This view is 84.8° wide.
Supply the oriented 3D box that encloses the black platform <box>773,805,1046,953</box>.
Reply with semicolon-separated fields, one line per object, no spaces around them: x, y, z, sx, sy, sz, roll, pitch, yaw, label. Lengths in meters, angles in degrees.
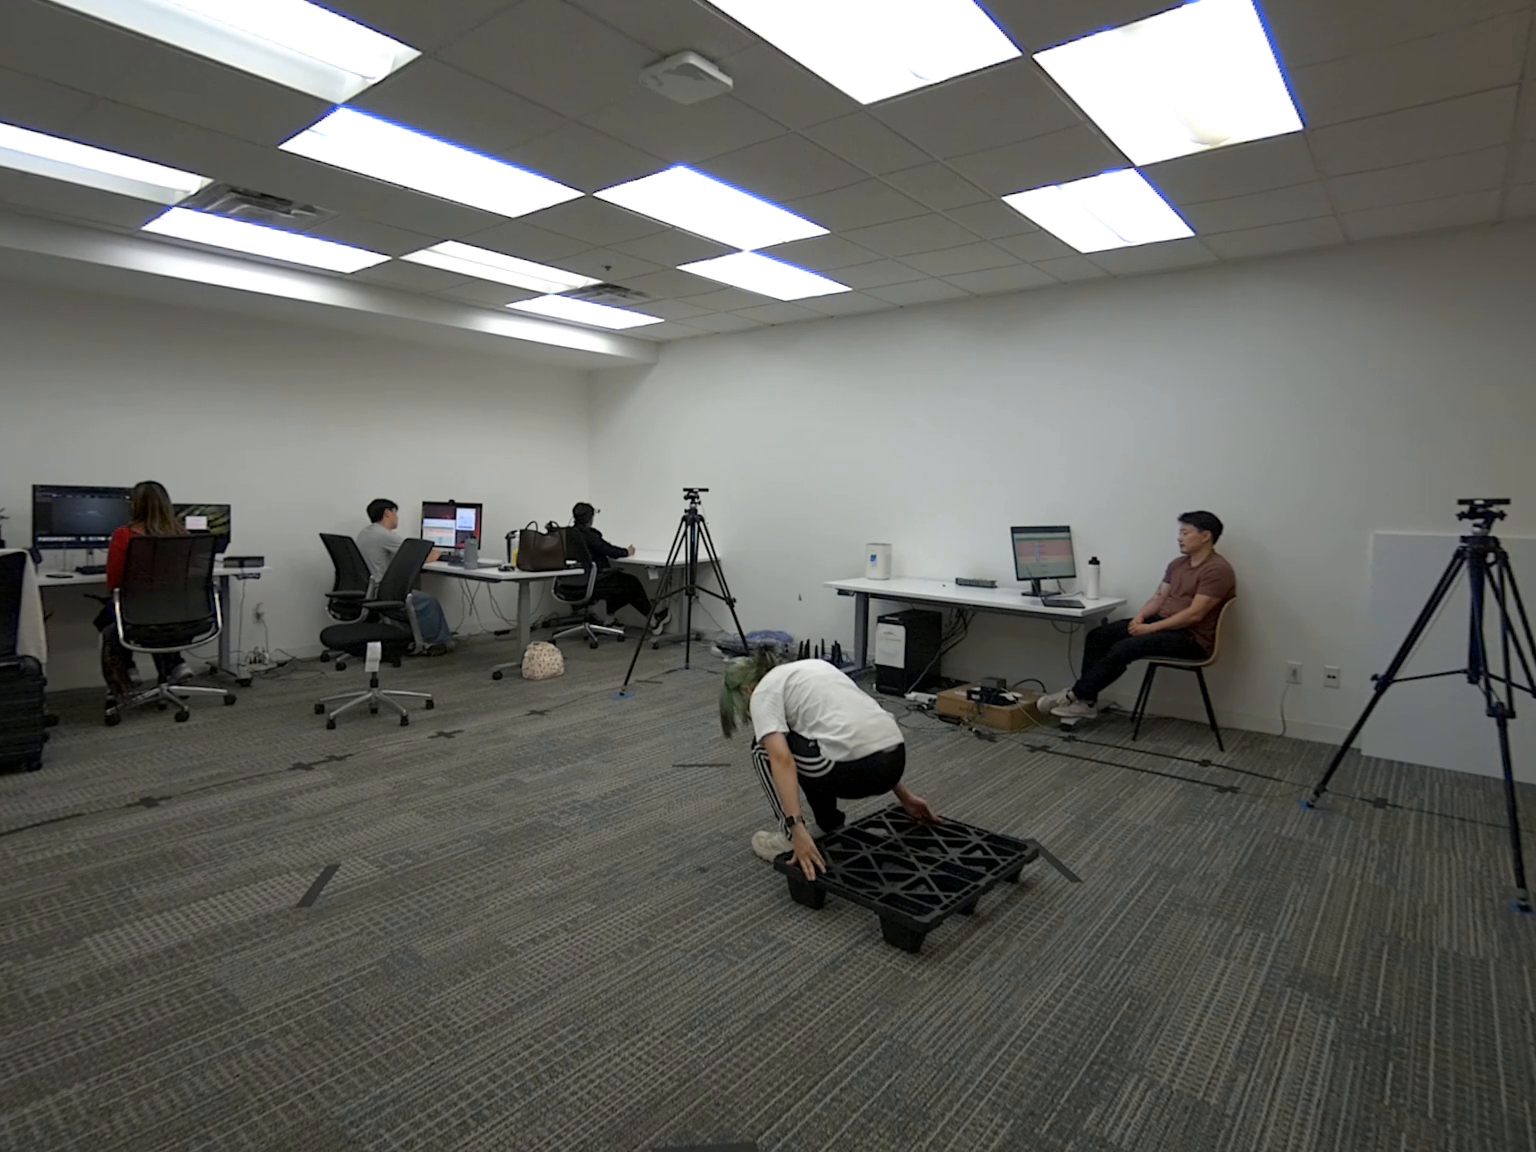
0.485;1.029;2.984;0.626;0.143;0.781;6;7;42;black platform
